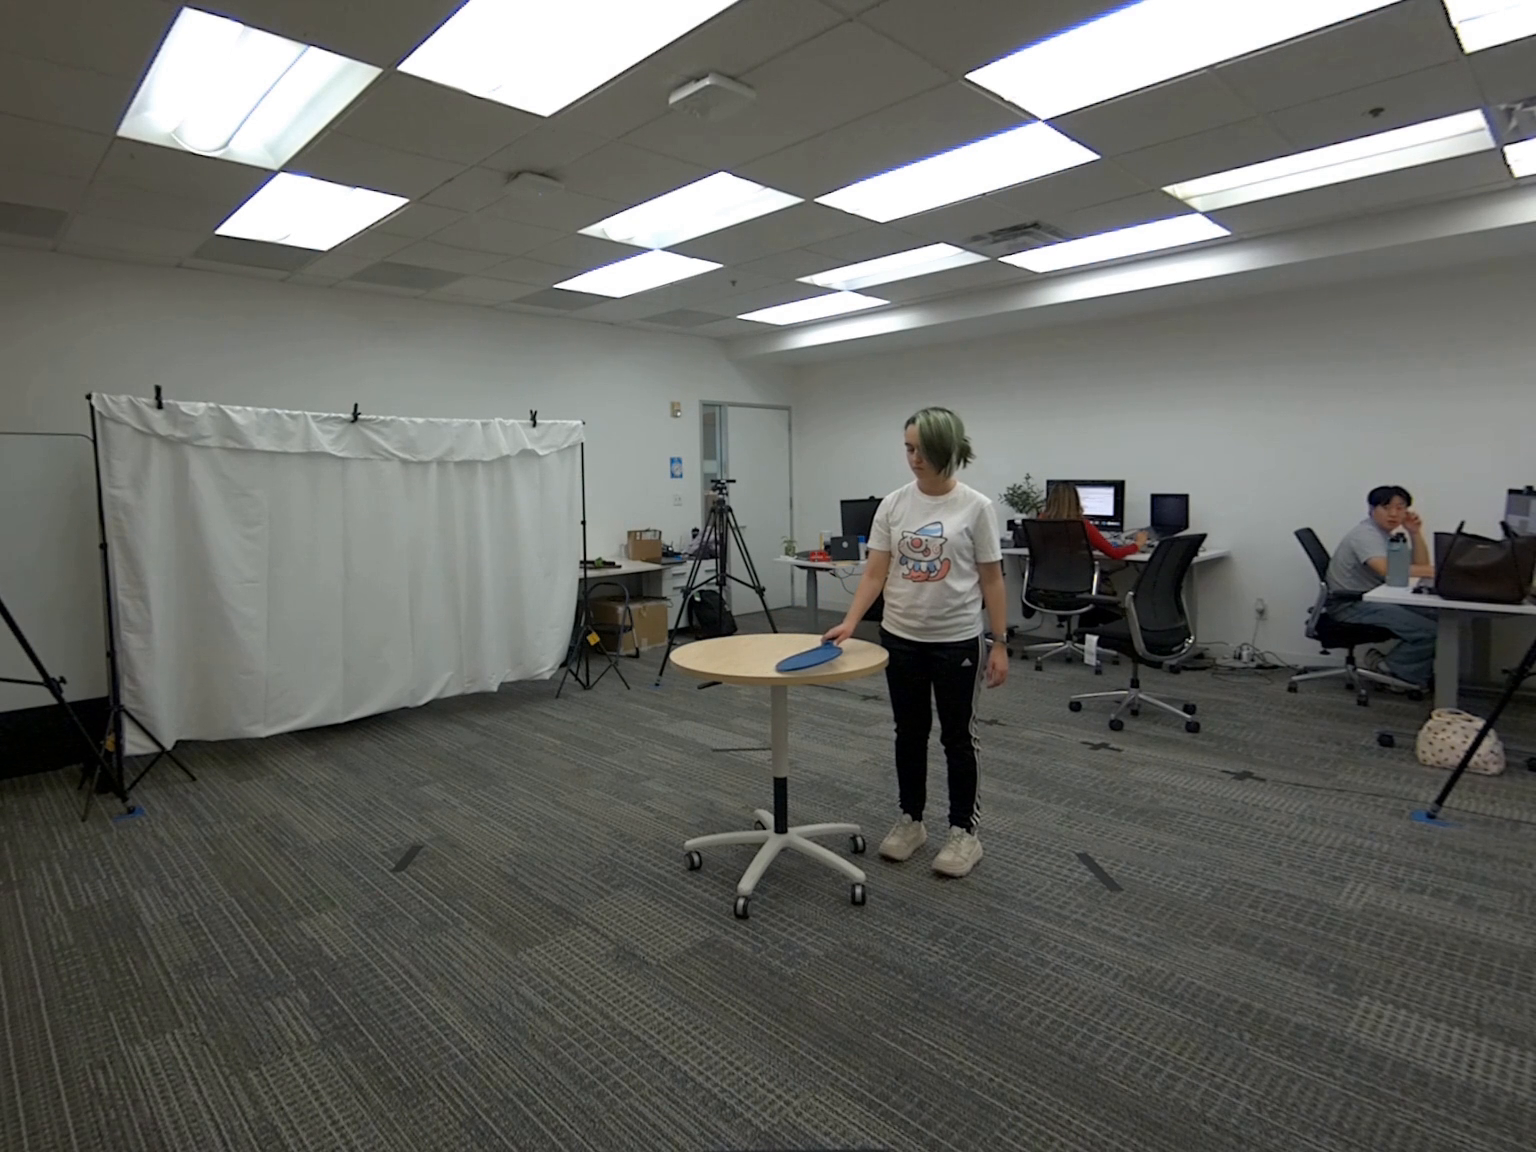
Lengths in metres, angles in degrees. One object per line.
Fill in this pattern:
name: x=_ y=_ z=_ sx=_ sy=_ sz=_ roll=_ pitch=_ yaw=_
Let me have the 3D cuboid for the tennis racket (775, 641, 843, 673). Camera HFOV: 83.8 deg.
tennis racket: x=0.176 y=0.258 z=2.814 sx=0.218 sy=0.031 sz=0.425 roll=-11 pitch=5 yaw=29
